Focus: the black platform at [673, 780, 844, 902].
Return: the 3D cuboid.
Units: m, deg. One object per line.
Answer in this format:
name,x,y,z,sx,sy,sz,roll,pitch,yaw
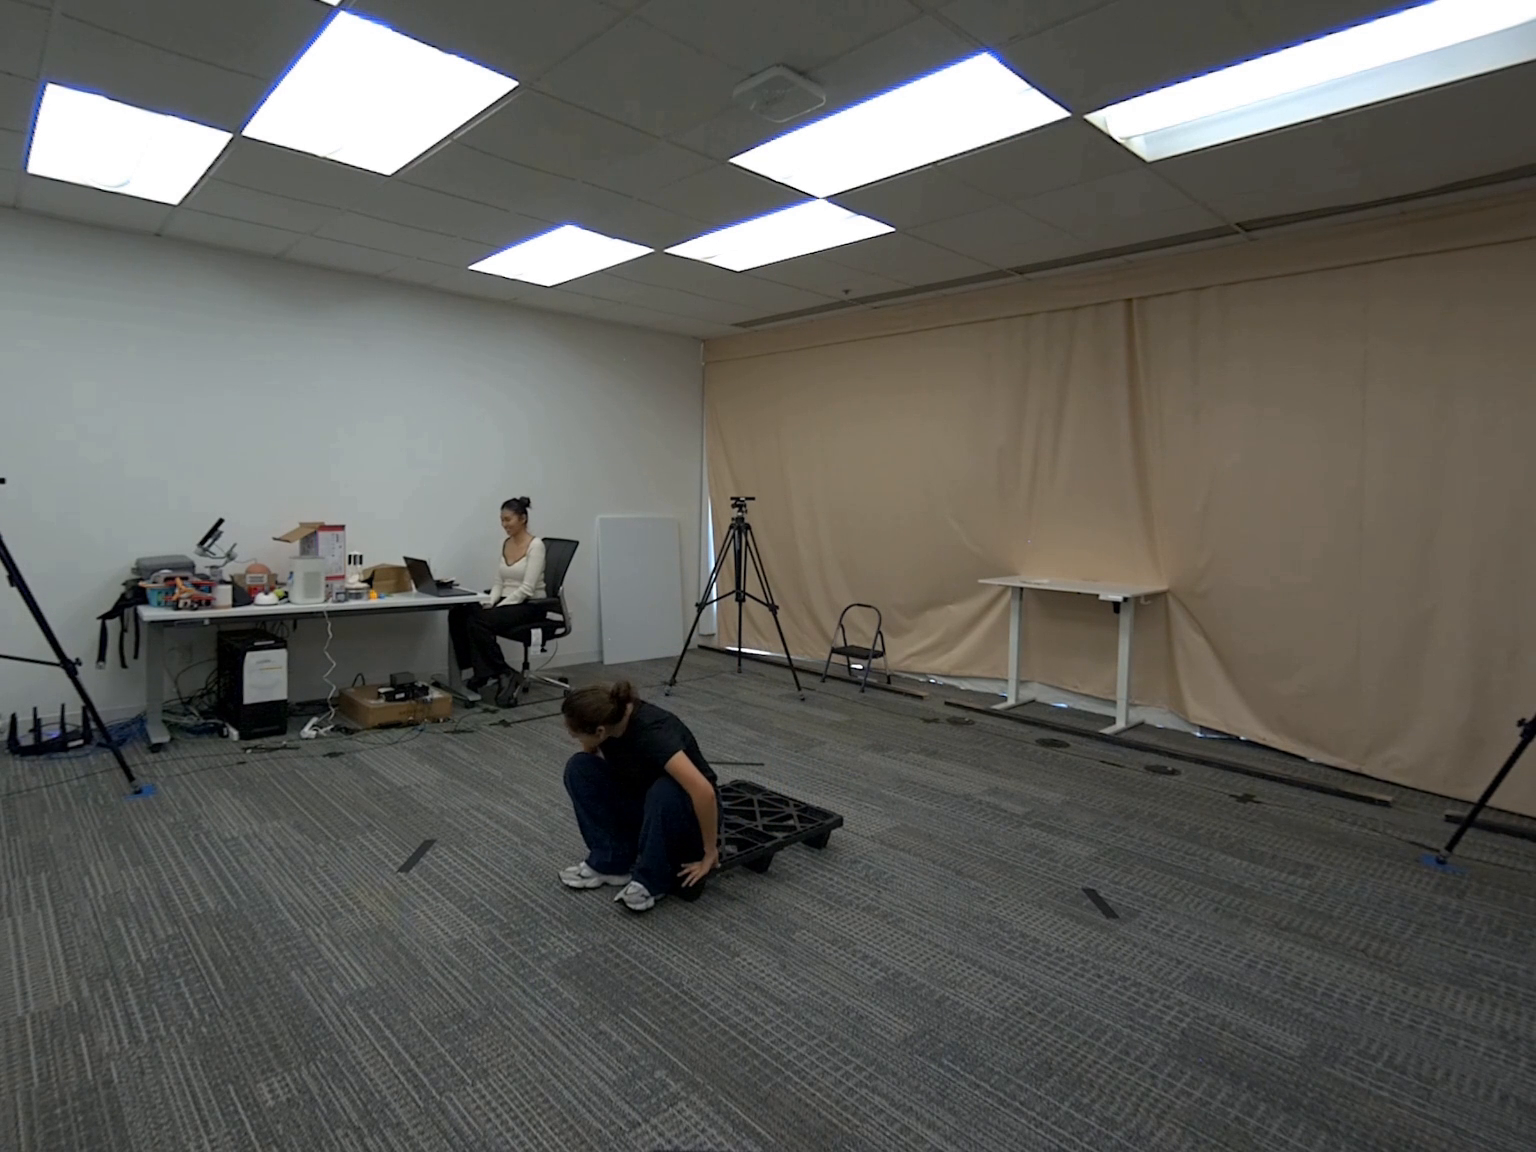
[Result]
black platform,-0.187,1.028,3.298,0.620,0.143,0.787,5,7,45
